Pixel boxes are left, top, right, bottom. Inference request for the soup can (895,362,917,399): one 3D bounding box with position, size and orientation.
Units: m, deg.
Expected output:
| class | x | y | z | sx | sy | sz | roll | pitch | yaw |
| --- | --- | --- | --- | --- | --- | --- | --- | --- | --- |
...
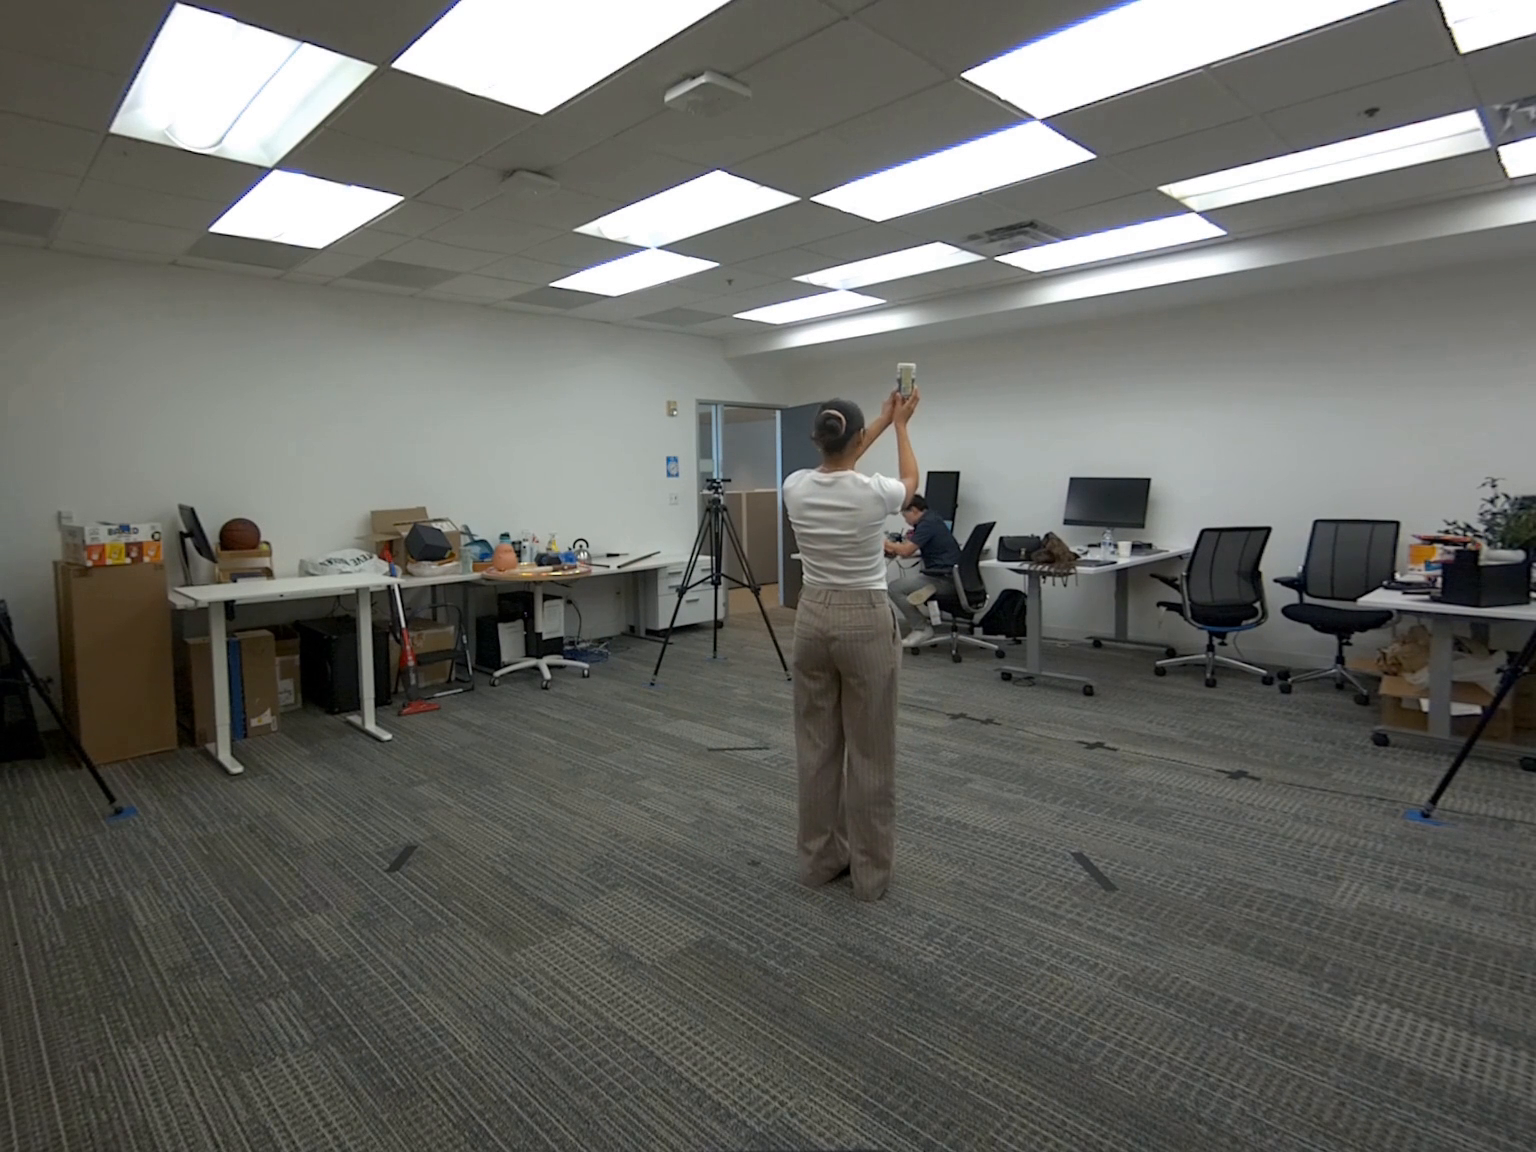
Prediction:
| class | x | y | z | sx | sy | sz | roll | pitch | yaw |
| --- | --- | --- | --- | --- | --- | --- | --- | --- | --- |
| soup can | 0.509 | -0.716 | 3.114 | 0.067 | 0.120 | 0.068 | 1 | 8 | -2 |
